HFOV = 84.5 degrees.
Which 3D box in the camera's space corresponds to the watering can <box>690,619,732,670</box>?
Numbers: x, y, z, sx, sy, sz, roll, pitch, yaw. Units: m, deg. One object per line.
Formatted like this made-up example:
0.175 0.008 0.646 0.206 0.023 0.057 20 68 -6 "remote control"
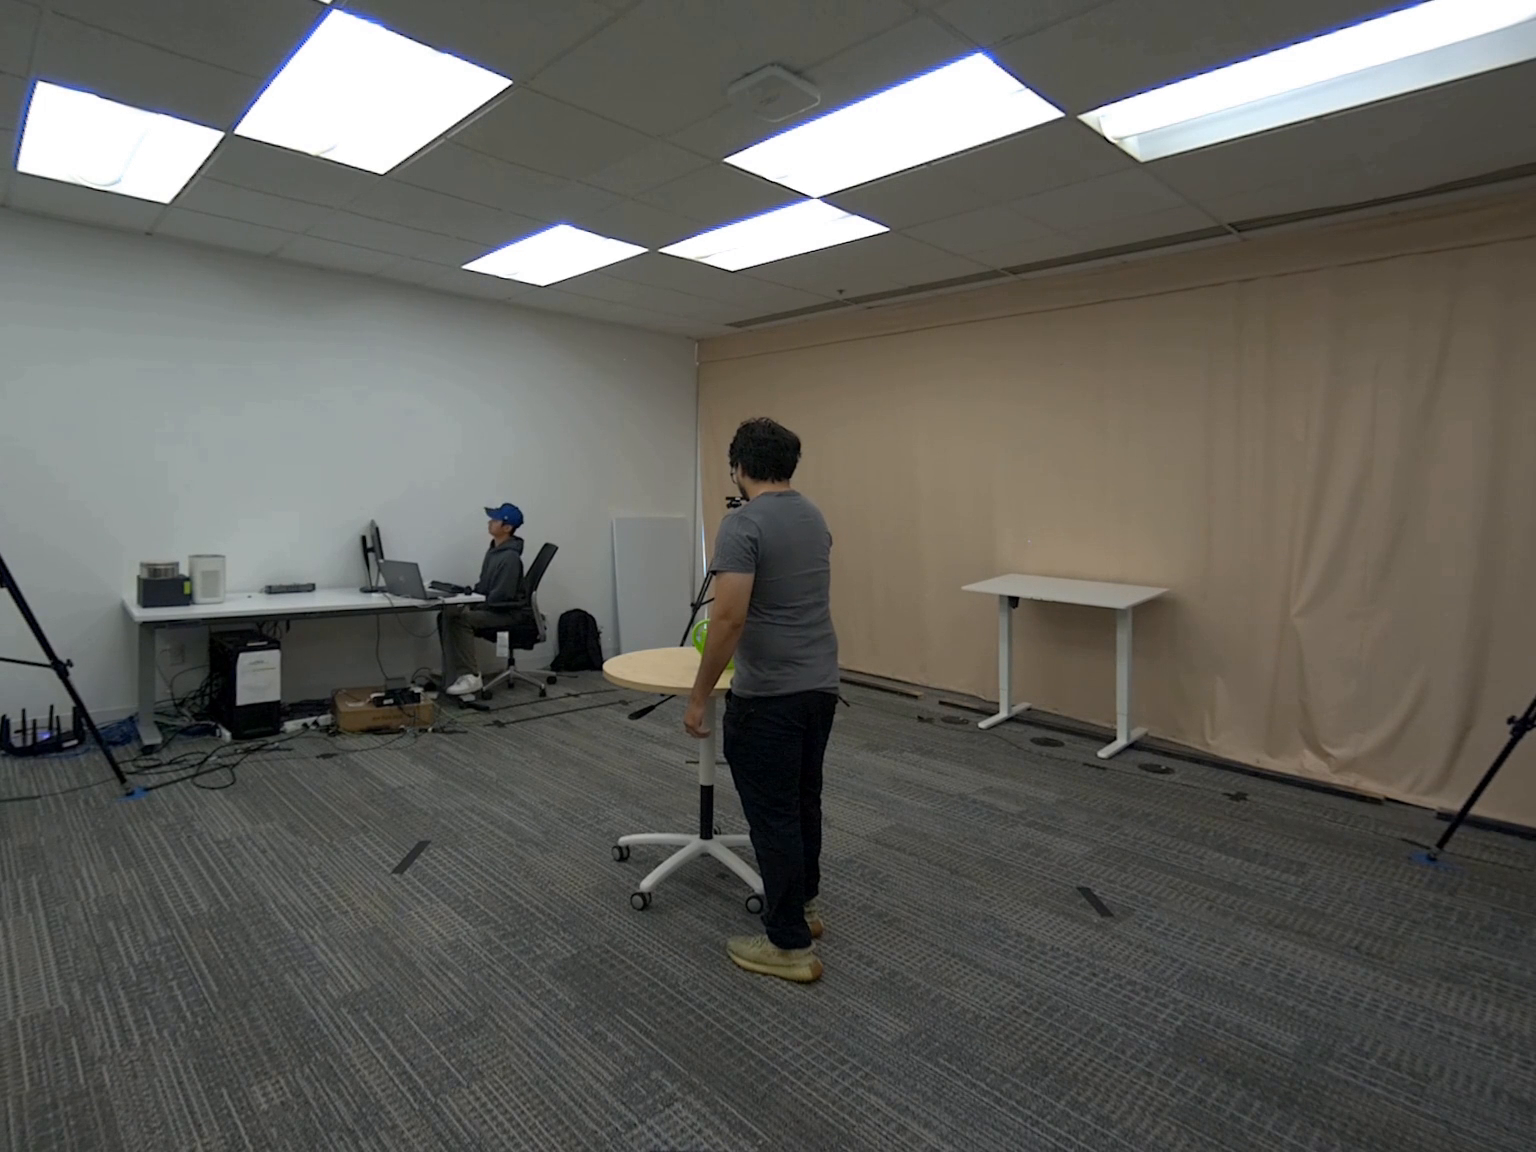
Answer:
-0.135 0.246 3.020 0.279 0.176 0.098 -2 2 3 "watering can"
